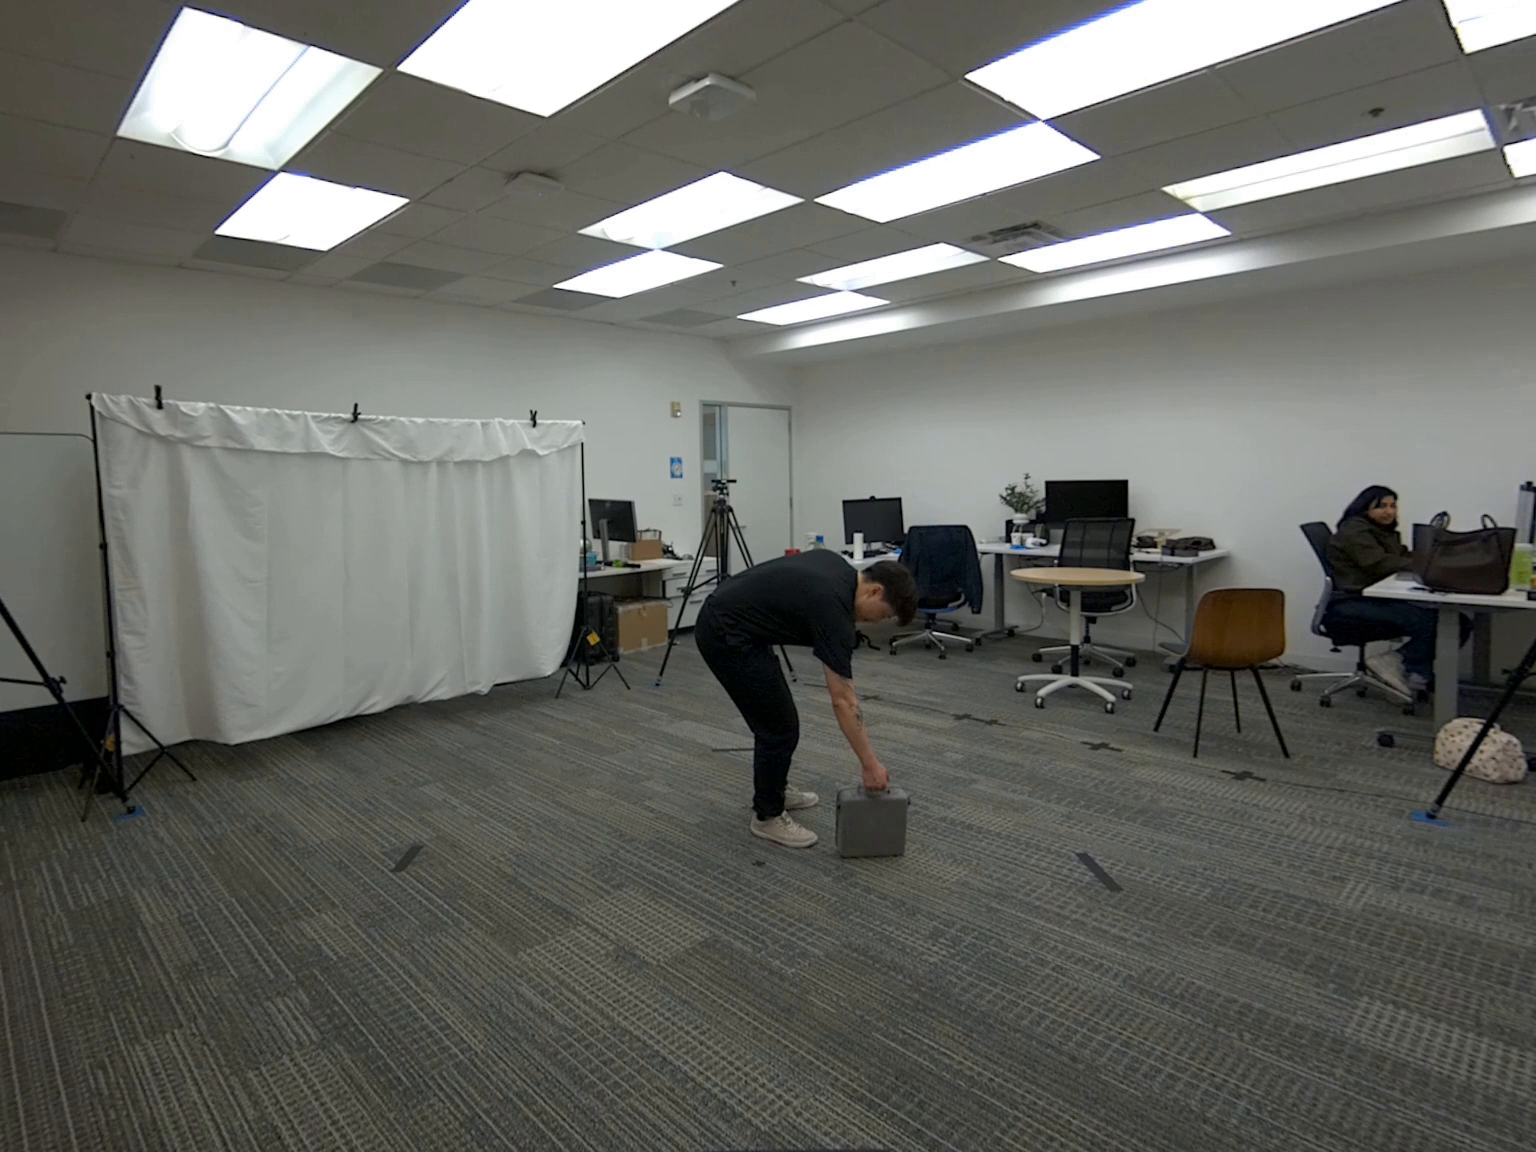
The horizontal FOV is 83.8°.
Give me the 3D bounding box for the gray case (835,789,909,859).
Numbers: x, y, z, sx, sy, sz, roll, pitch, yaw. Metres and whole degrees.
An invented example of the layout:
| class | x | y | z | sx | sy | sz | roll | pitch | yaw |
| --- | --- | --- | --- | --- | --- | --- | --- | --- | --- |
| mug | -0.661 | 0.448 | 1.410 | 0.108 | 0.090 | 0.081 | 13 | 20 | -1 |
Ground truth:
| class | x | y | z | sx | sy | sz | roll | pitch | yaw |
| --- | --- | --- | --- | --- | --- | --- | --- | --- | --- |
| gray case | 0.388 | 0.901 | 3.158 | 0.256 | 0.258 | 0.106 | -2 | 12 | -4 |
